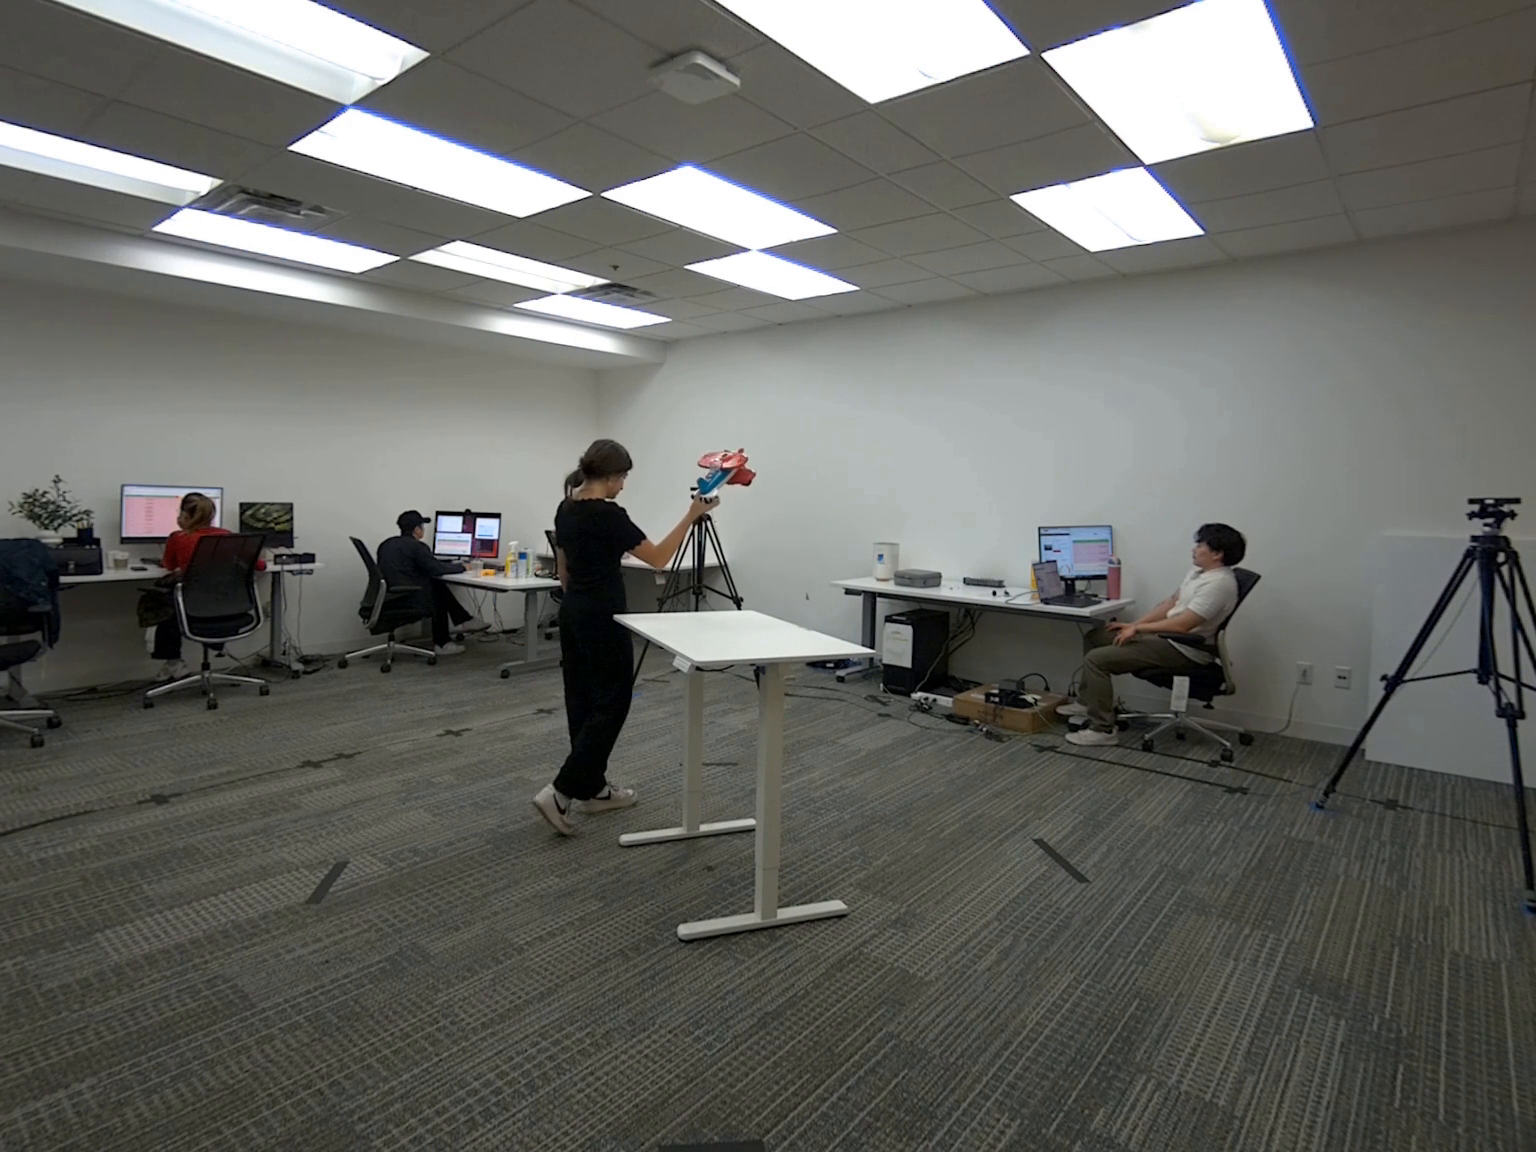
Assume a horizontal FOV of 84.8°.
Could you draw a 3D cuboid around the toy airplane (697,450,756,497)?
[{"bbox_3d":[-0.184,-0.406,3.433,0.255,0.152,0.262,-9,26,18],"label":"toy airplane"}]
